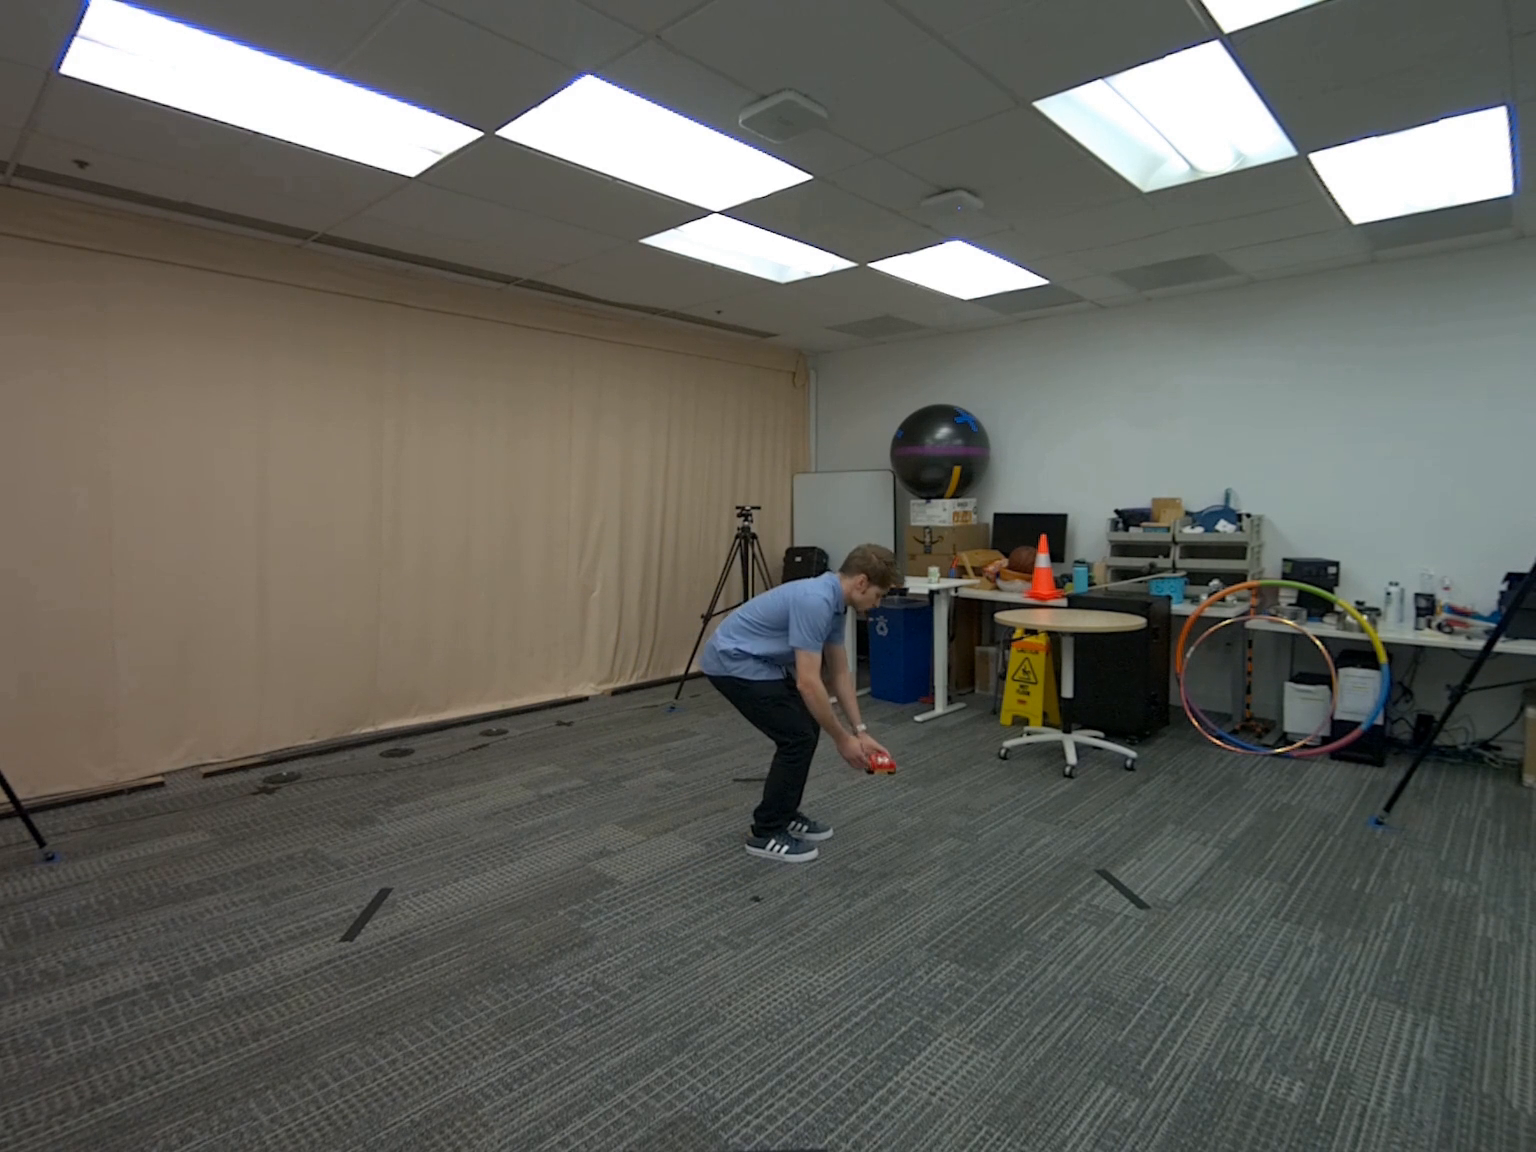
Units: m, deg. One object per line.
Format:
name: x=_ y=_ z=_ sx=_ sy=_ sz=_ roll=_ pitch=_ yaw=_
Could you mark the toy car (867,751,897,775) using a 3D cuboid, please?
toy car: x=0.429 y=0.743 z=3.441 sx=0.128 sy=0.083 sz=0.259 roll=7 pitch=-1 yaw=-18
